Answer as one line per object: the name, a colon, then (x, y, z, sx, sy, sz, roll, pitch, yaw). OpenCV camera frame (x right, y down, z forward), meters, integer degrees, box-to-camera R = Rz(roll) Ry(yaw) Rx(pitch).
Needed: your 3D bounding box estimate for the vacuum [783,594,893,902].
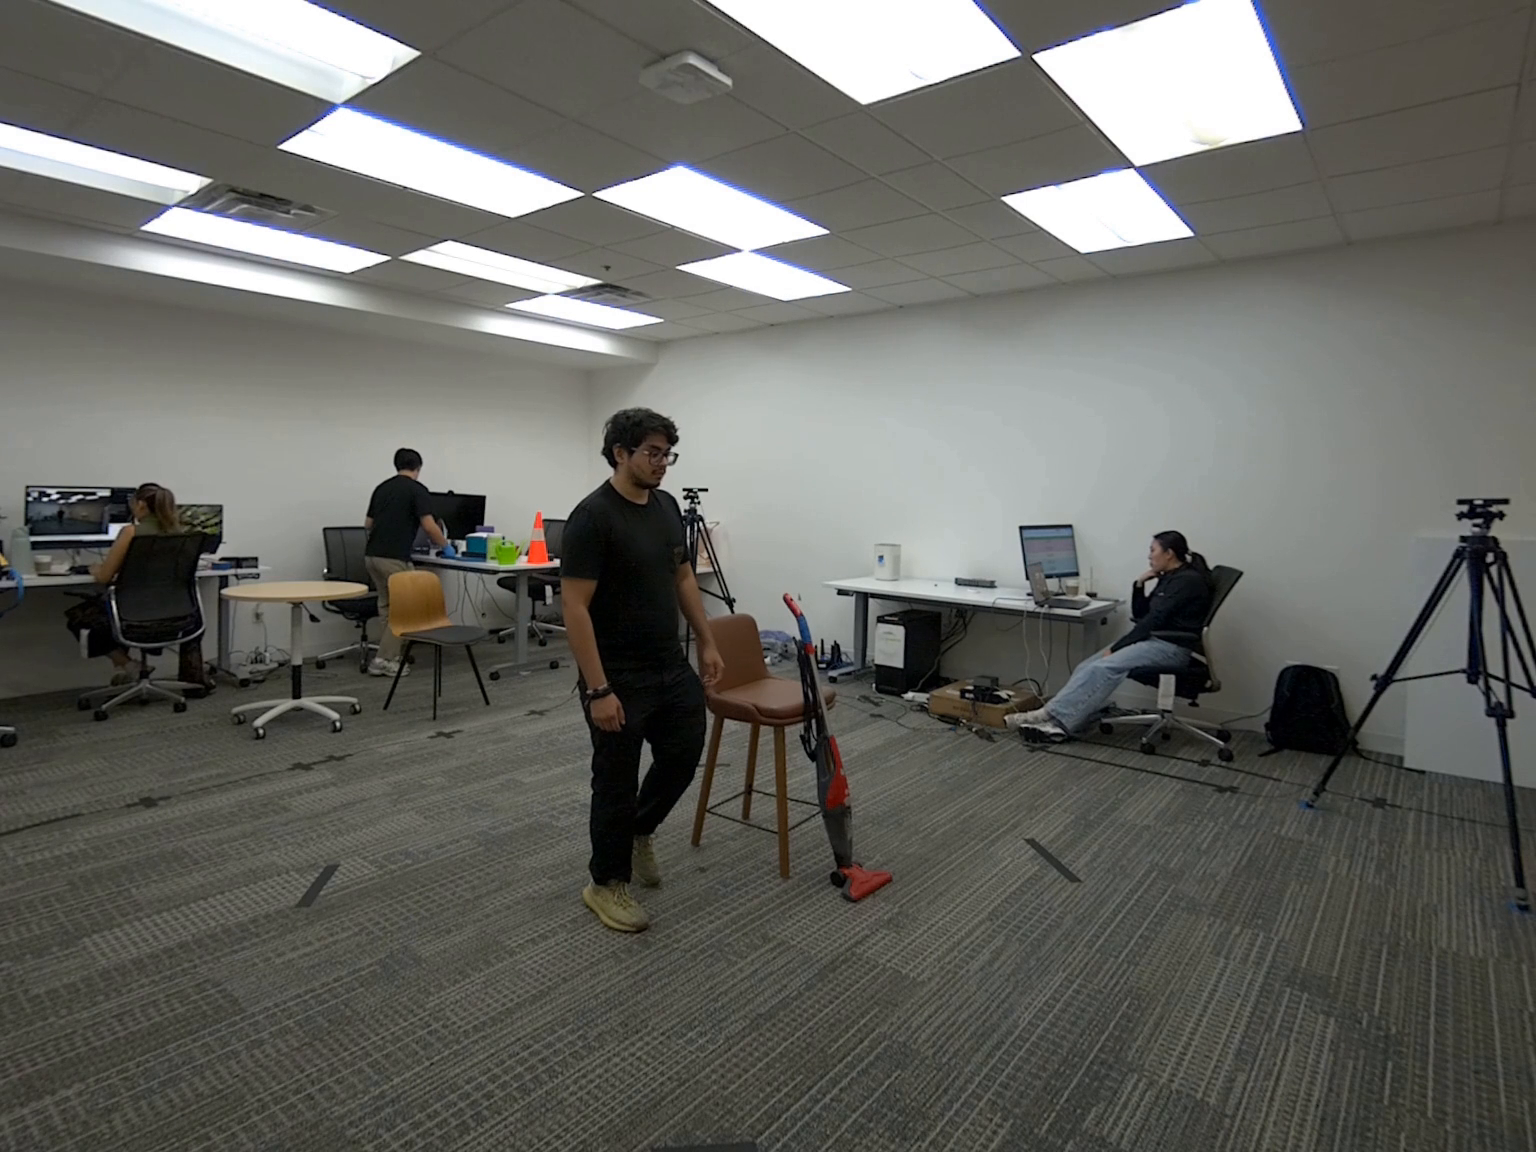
vacuum: (0.188, 0.587, 3.106, 0.146, 1.062, 0.245, -20, -12, 33)
